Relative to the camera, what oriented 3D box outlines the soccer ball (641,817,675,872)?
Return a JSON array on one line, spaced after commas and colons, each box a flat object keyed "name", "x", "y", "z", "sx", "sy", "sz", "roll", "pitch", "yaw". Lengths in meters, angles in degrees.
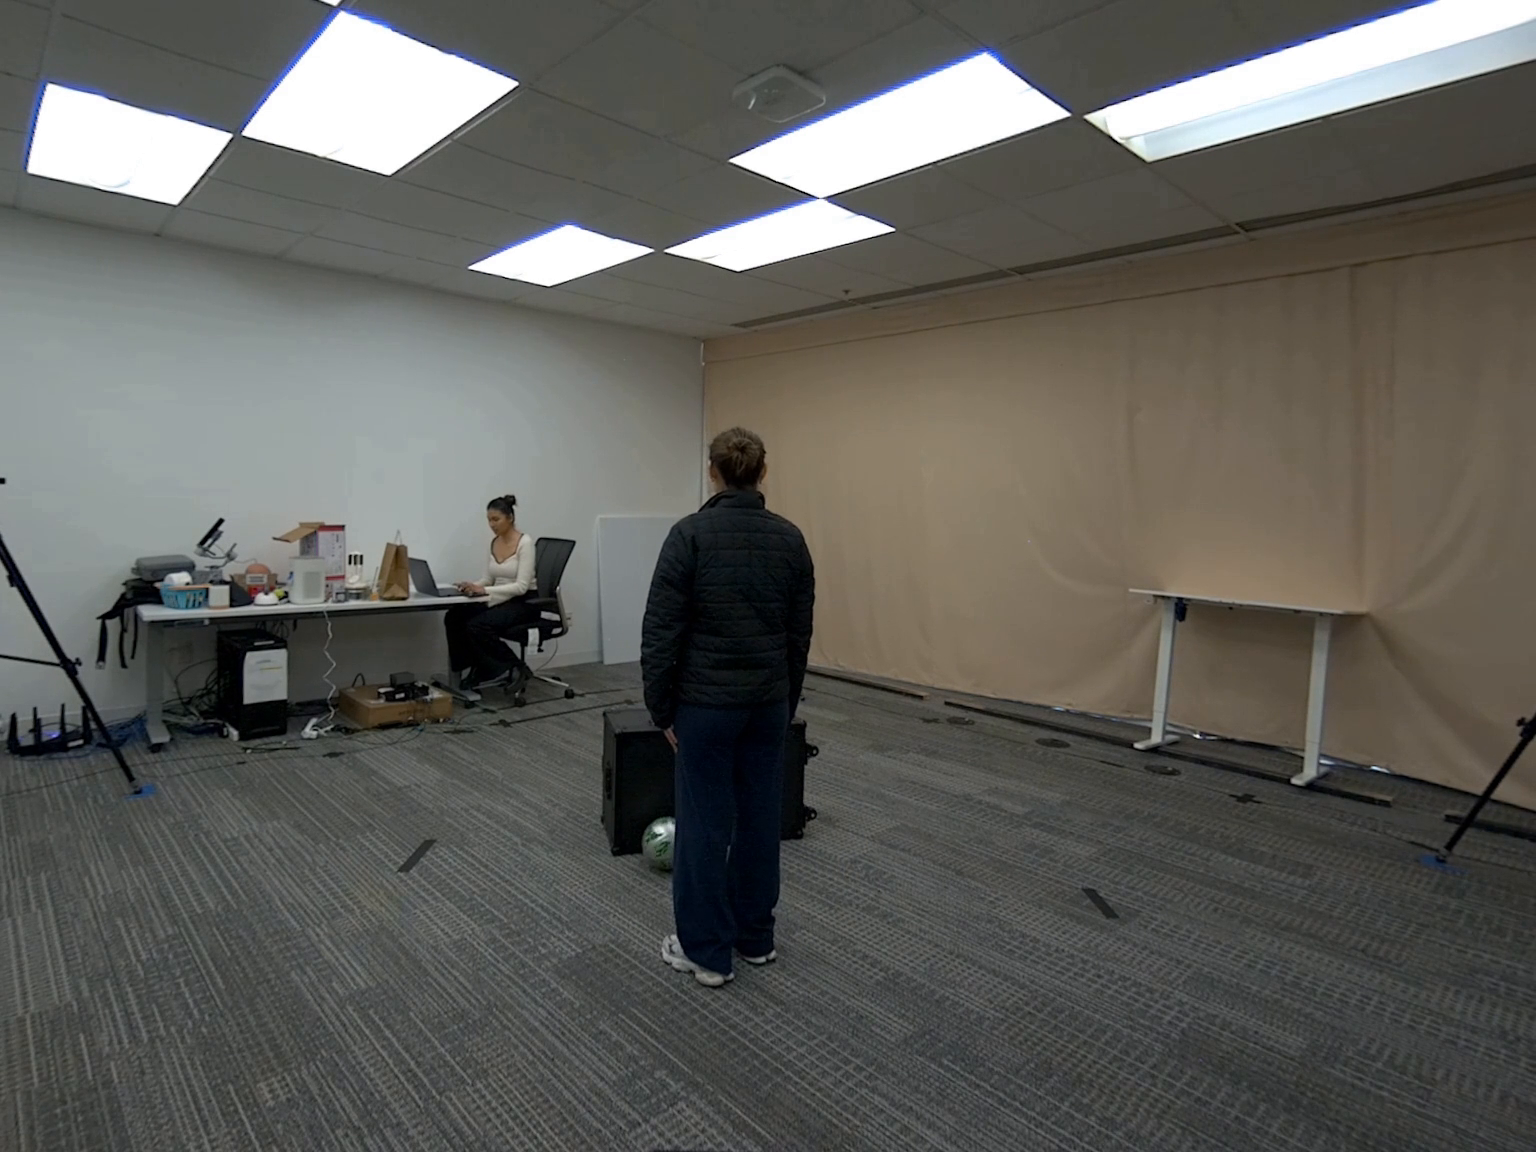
[{"name": "soccer ball", "x": -0.390, "y": 1.003, "z": 3.151, "sx": 0.187, "sy": 0.187, "sz": 0.188, "roll": 1, "pitch": 4, "yaw": -1}]
